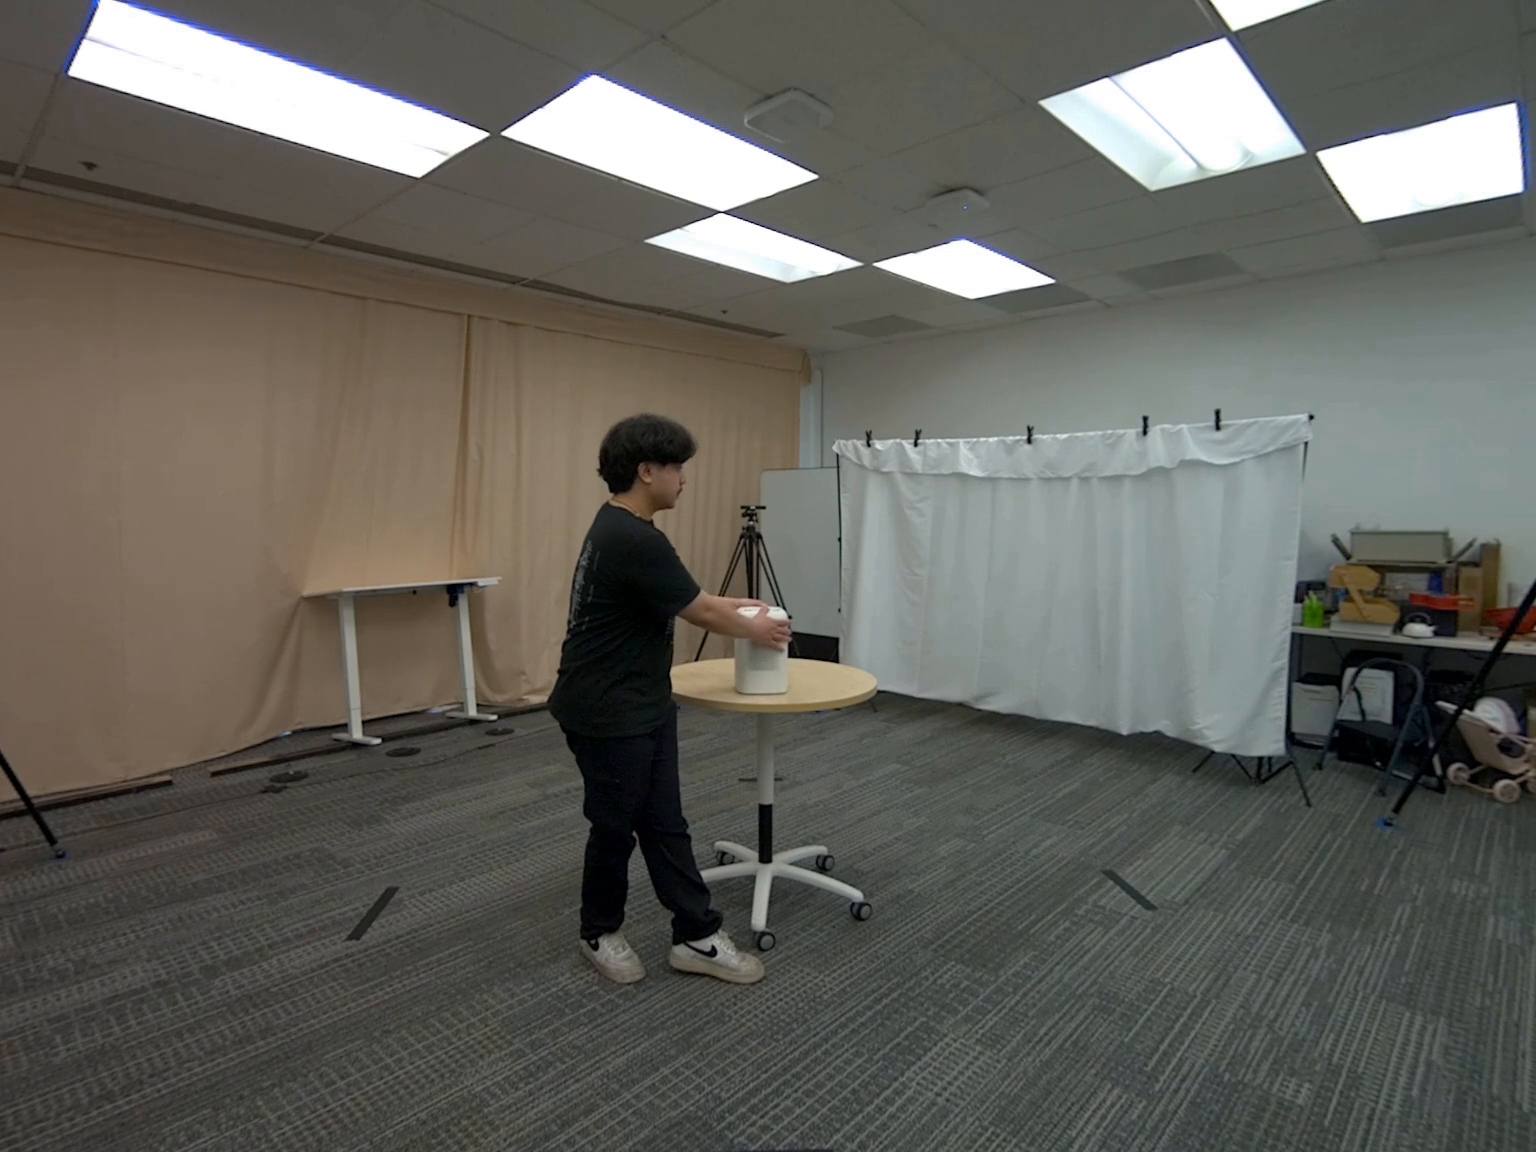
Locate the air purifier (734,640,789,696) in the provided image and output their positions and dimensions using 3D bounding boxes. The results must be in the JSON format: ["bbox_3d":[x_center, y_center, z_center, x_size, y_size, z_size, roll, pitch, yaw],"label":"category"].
[{"bbox_3d":[-0.018,0.243,2.744,0.171,0.264,0.172,-1,5,-4],"label":"air purifier"}]
